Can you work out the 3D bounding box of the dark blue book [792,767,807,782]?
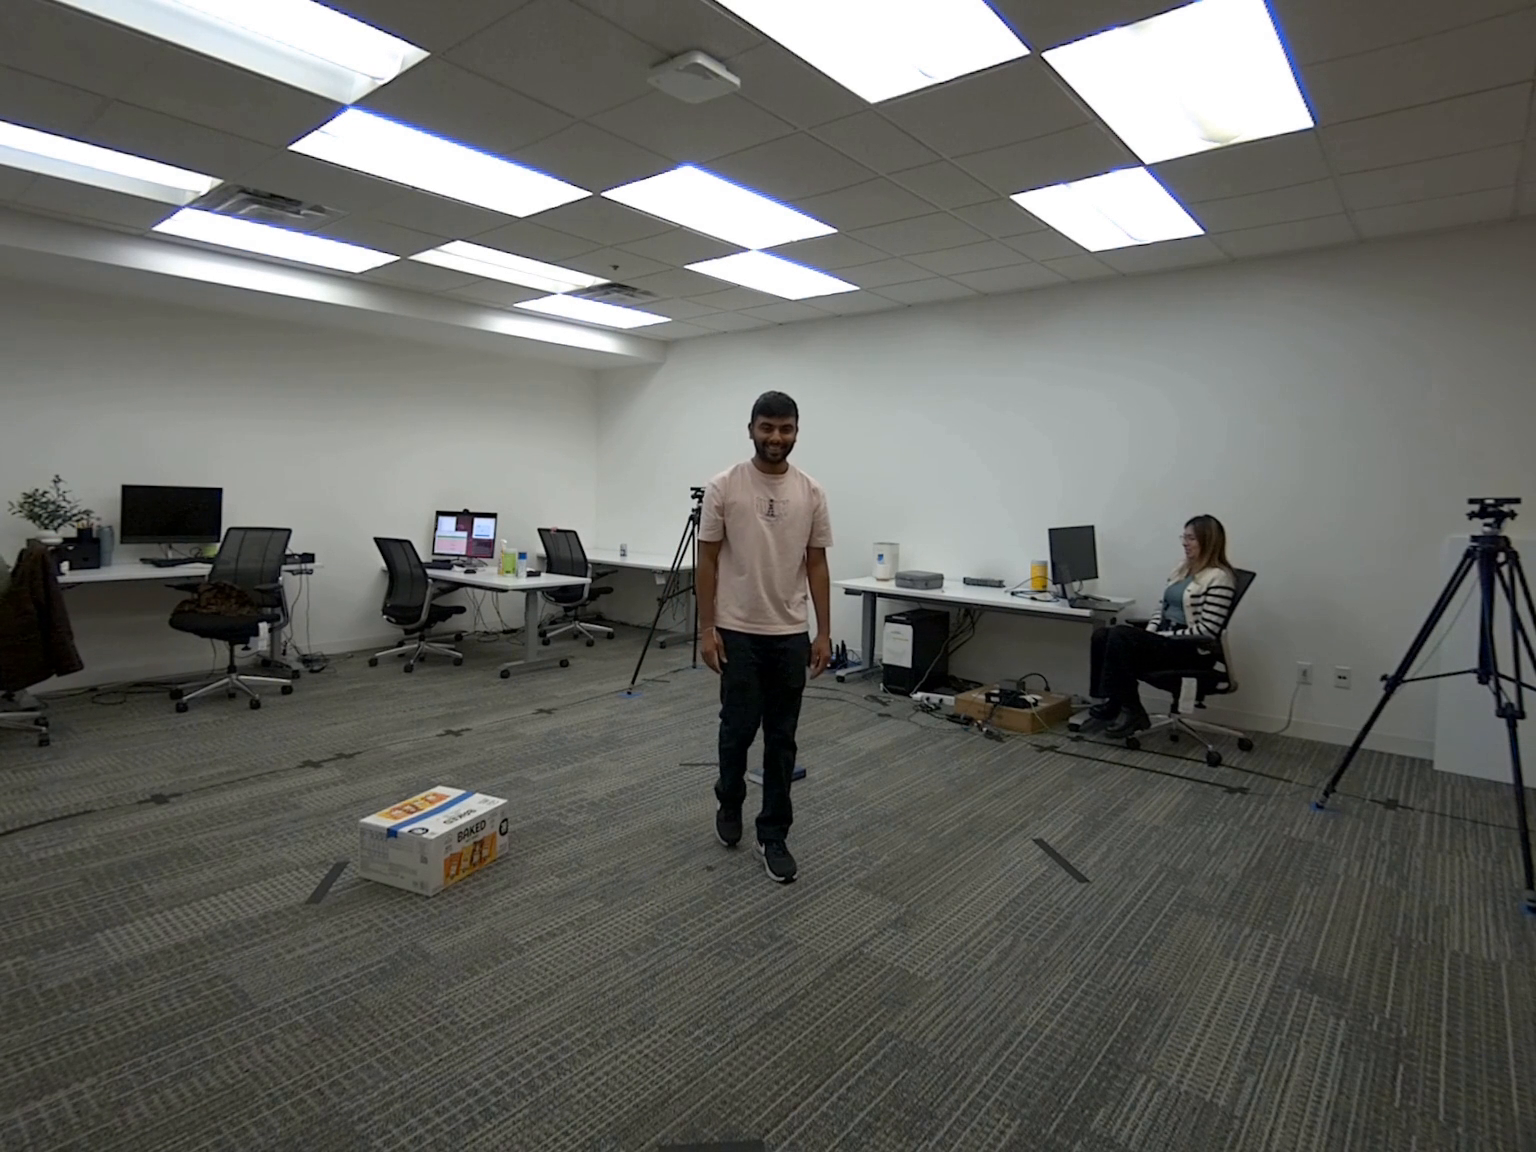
[{"bbox_3d":[0.038,0.947,4.084,0.238,0.045,0.169,-5,8,-45],"label":"dark blue book"}]
